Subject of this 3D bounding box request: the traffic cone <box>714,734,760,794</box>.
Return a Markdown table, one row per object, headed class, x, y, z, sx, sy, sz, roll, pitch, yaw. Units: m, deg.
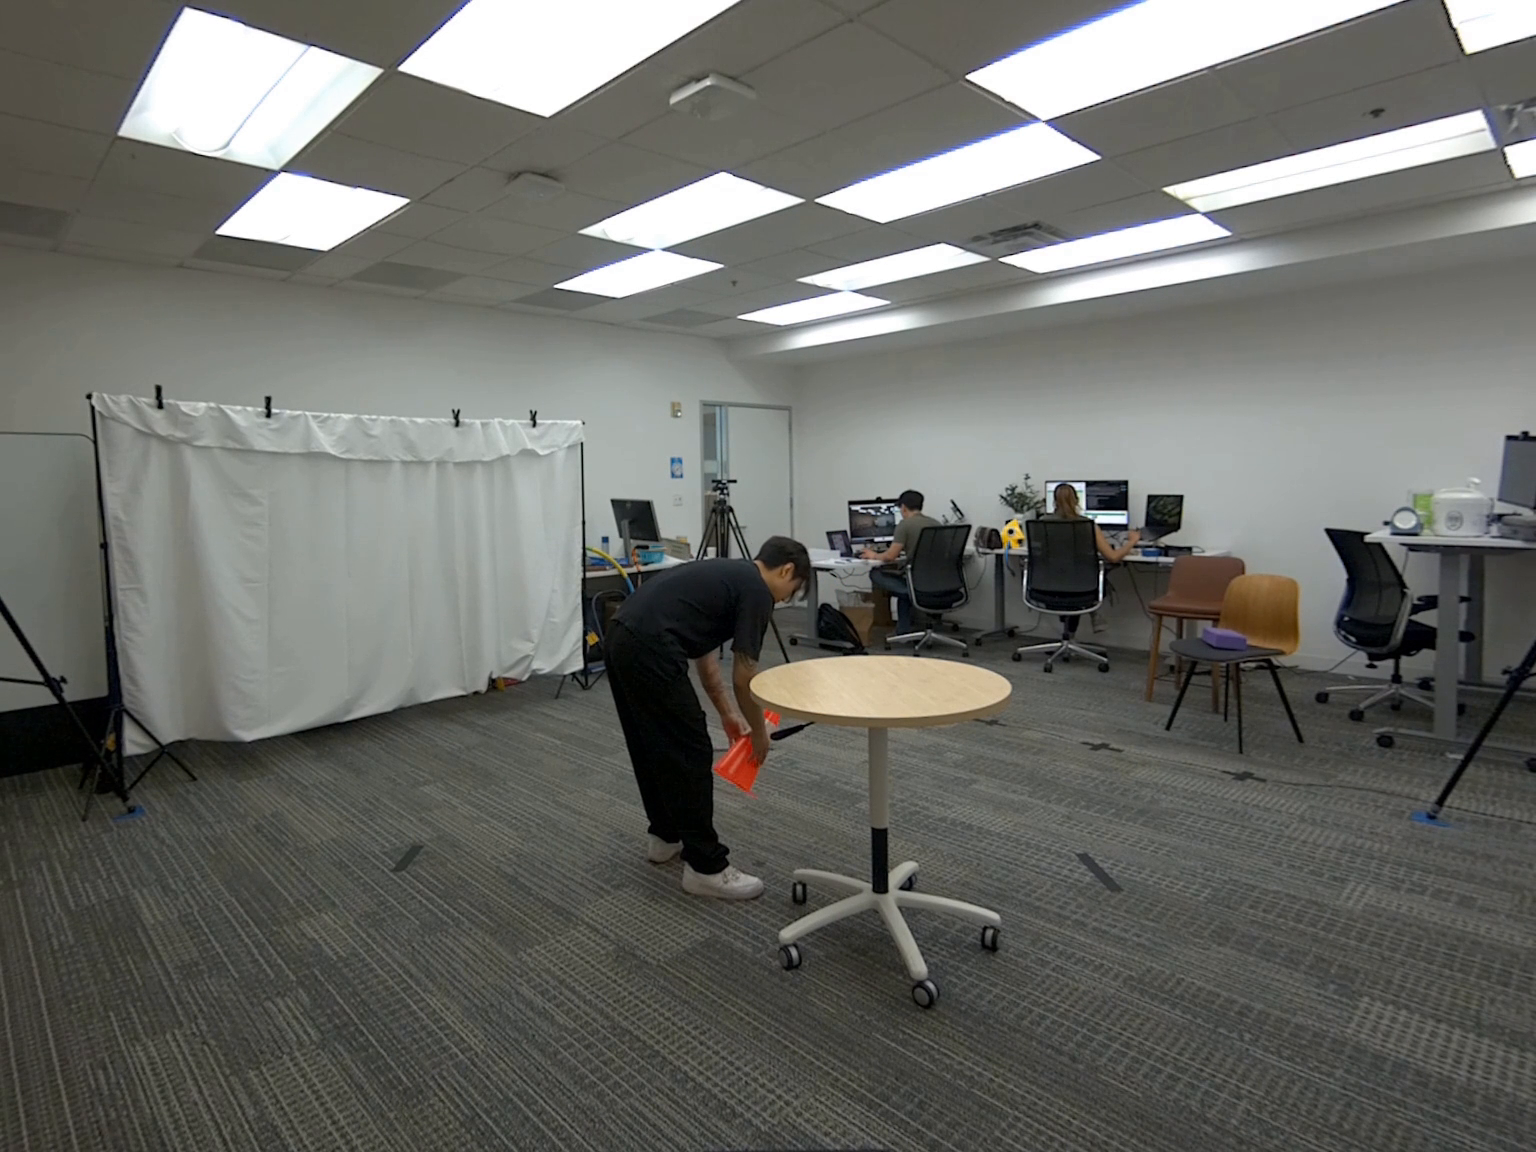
| class | x | y | z | sx | sy | sz | roll | pitch | yaw |
| --- | --- | --- | --- | --- | --- | --- | --- | --- | --- |
| traffic cone | -0.042 | 0.600 | 3.187 | 0.210 | 0.385 | 0.198 | 26 | -15 | 28 |
